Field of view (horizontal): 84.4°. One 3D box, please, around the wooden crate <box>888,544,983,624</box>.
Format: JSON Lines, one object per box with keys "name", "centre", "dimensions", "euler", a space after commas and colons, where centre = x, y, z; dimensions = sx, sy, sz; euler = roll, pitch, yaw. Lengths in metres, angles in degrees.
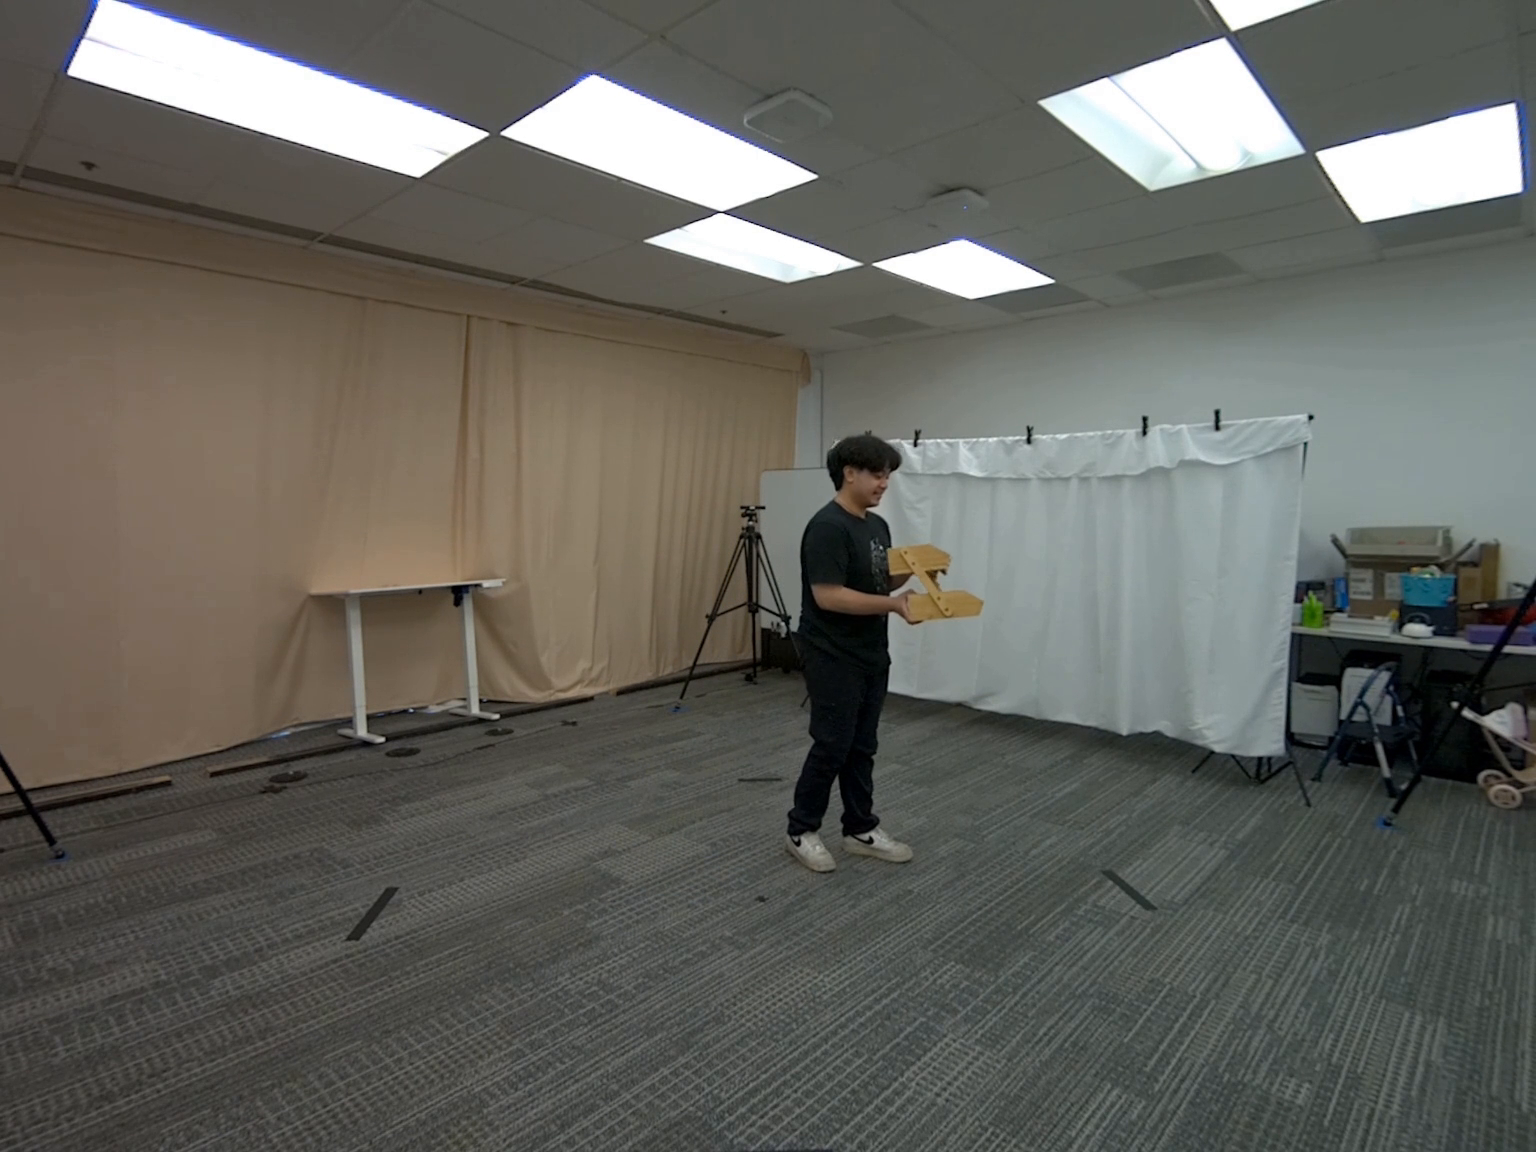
{"name": "wooden crate", "centre": [0.599, 0.016, 3.039], "dimensions": [0.305, 0.274, 0.321], "euler": [-7, -3, 8]}
